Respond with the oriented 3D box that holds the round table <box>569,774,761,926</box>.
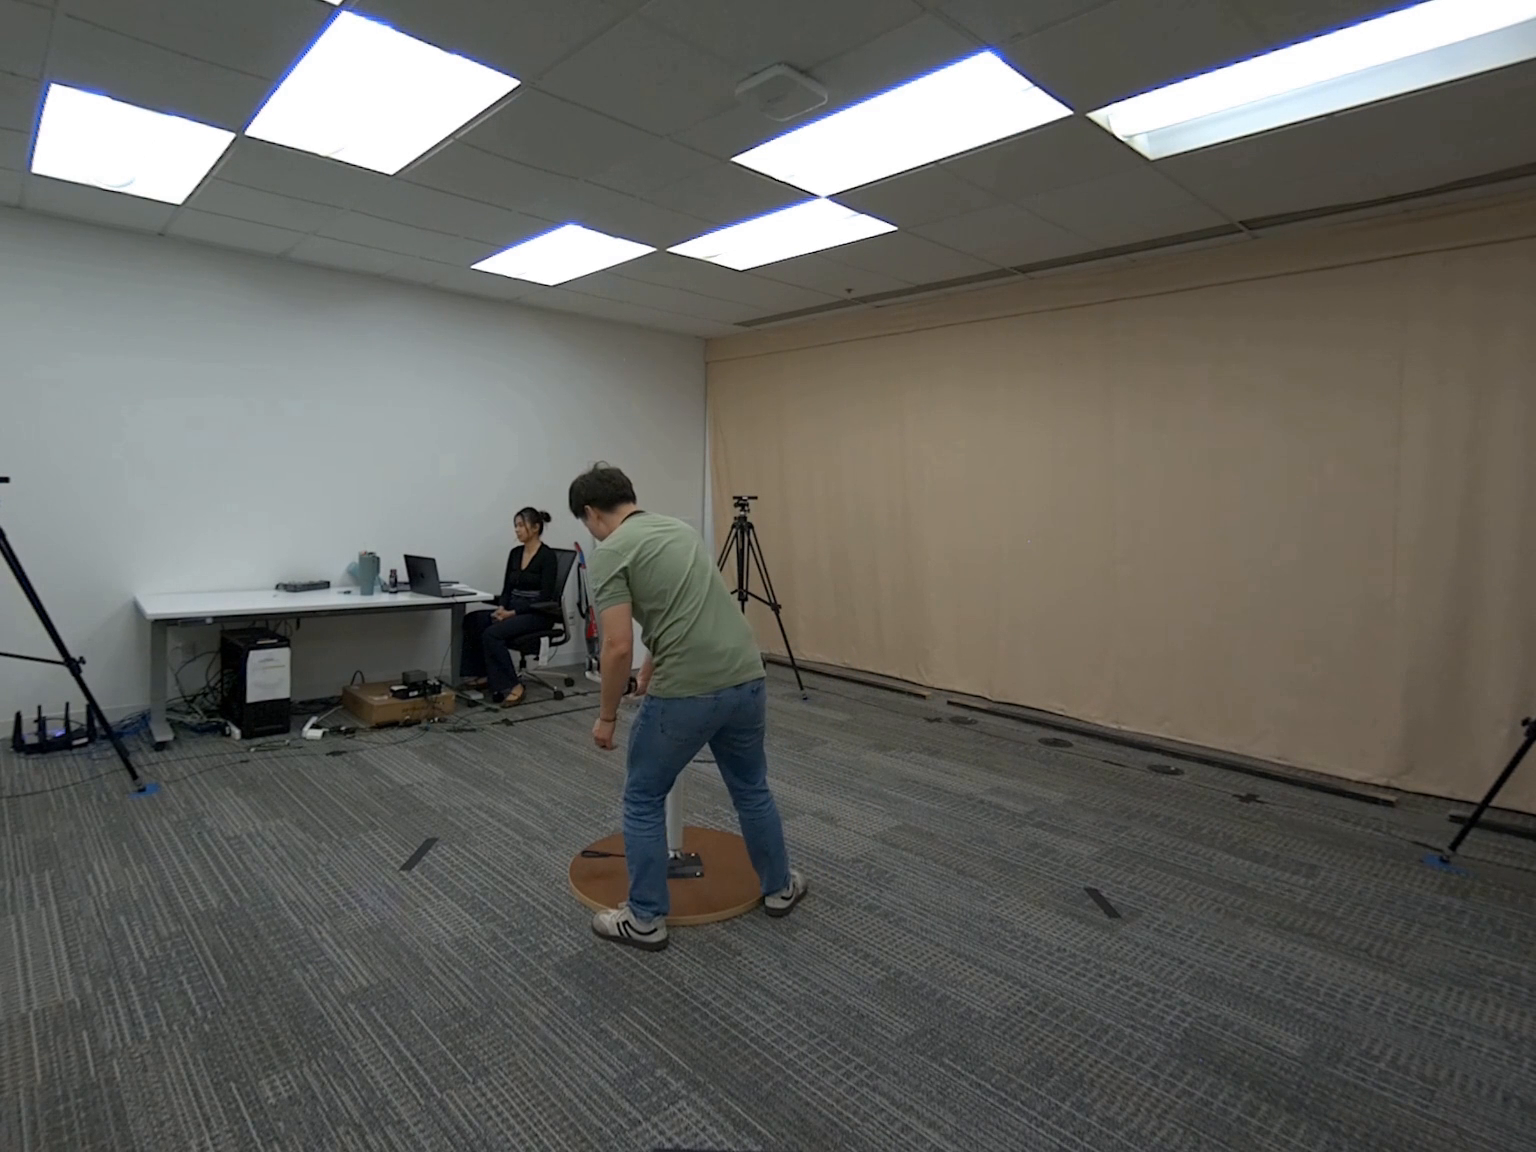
[{"bbox_3d":[-0.340,0.708,3.090,0.763,0.792,0.766,2,4,-2],"label":"round table"}]
